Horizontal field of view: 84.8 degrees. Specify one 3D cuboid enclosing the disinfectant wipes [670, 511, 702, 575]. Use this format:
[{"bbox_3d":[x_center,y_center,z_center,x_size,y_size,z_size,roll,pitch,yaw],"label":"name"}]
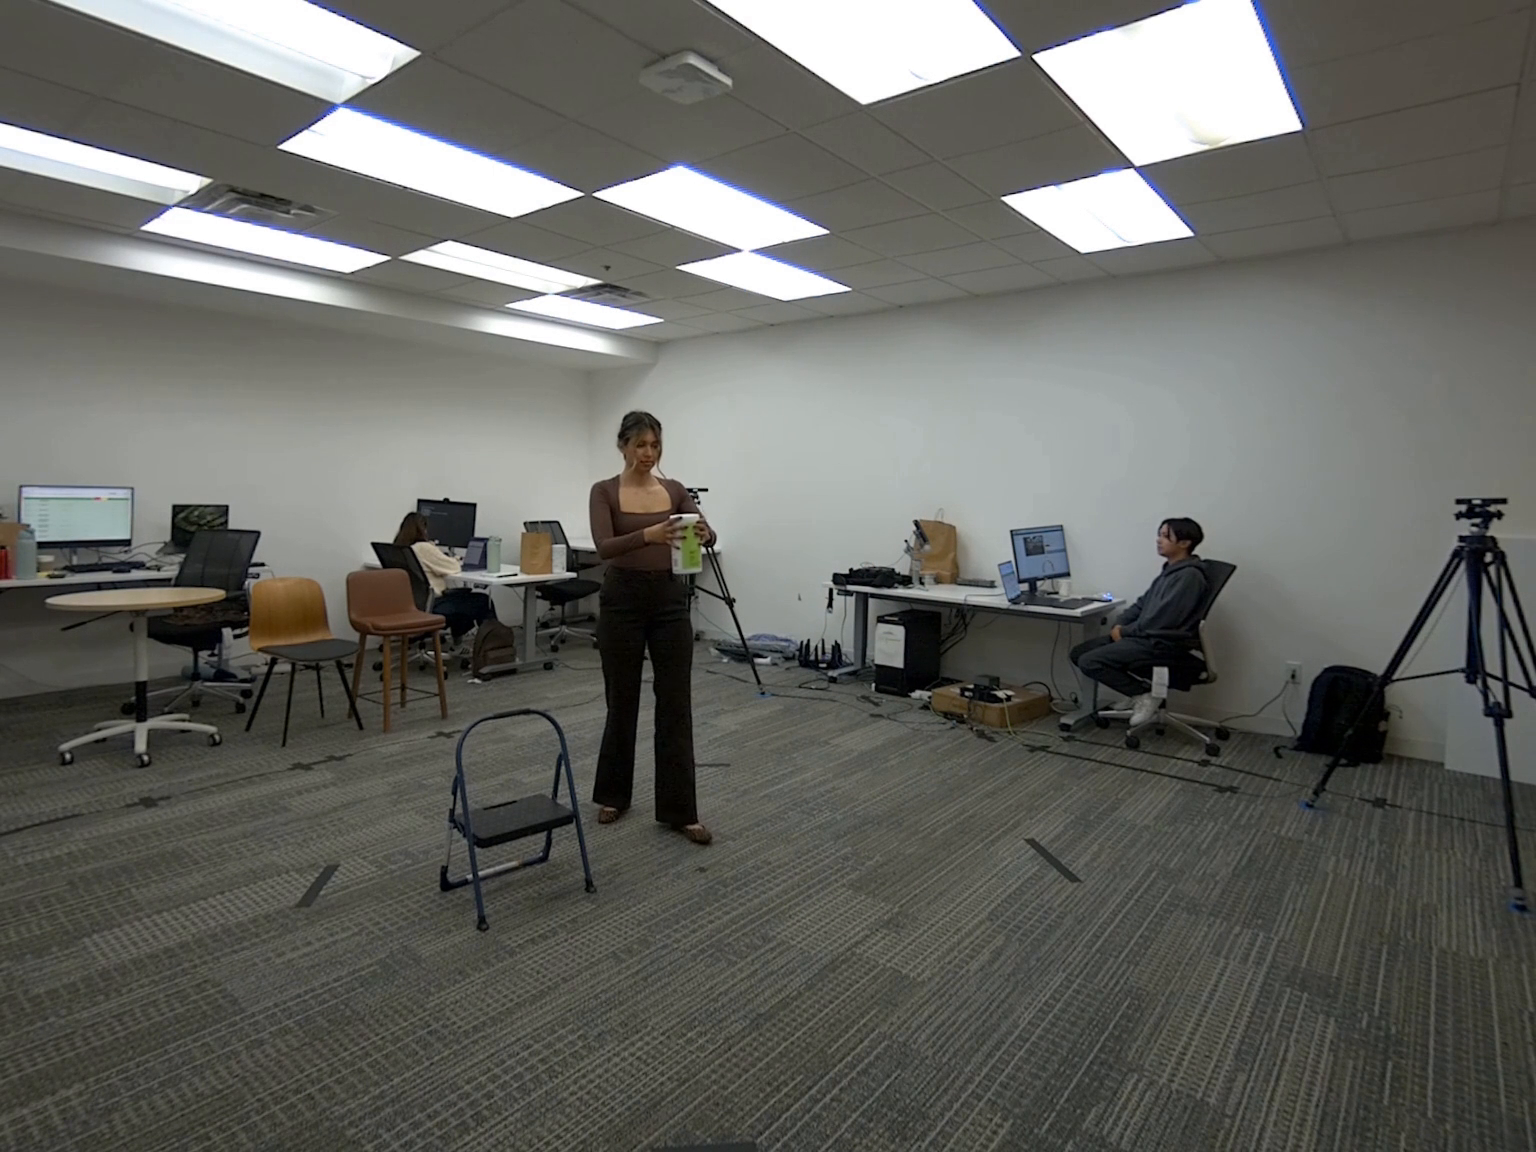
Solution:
[{"bbox_3d":[-0.316,-0.127,3.138,0.118,0.216,0.118,-4,5,-1],"label":"disinfectant wipes"}]
